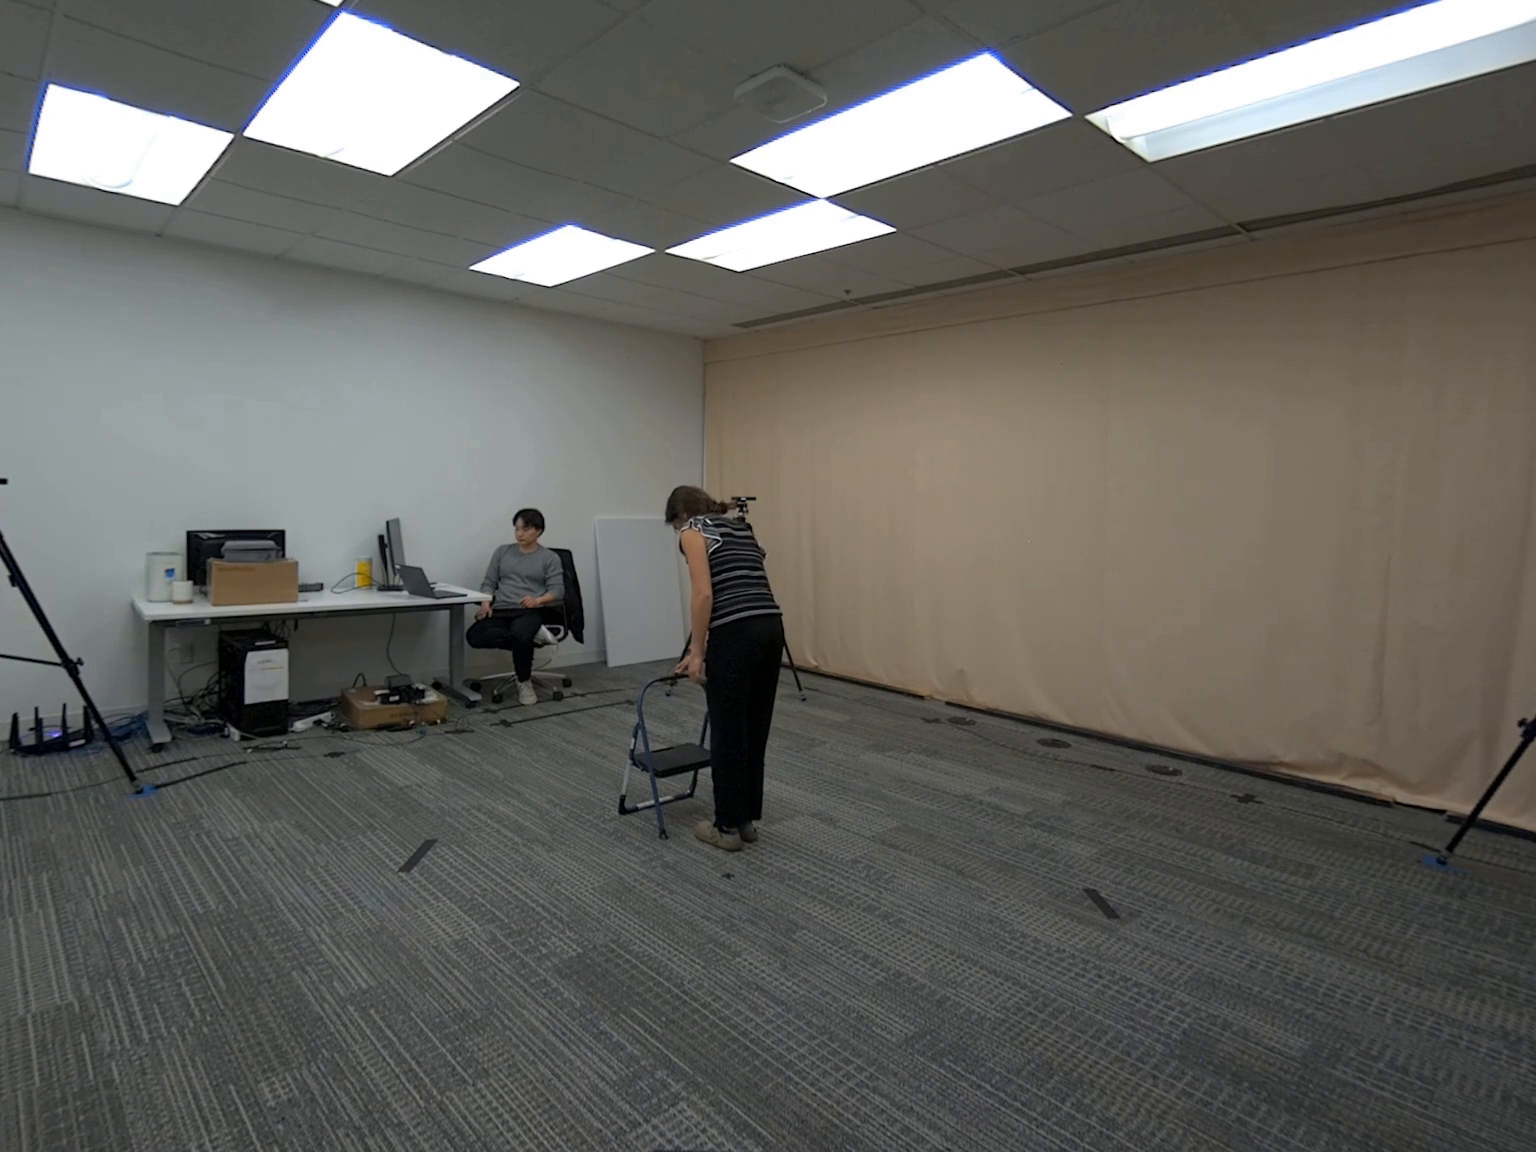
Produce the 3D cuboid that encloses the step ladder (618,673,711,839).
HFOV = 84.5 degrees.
[{"bbox_3d":[-0.392,0.748,3.679,0.421,0.605,0.358,-1,5,-43],"label":"step ladder"}]
